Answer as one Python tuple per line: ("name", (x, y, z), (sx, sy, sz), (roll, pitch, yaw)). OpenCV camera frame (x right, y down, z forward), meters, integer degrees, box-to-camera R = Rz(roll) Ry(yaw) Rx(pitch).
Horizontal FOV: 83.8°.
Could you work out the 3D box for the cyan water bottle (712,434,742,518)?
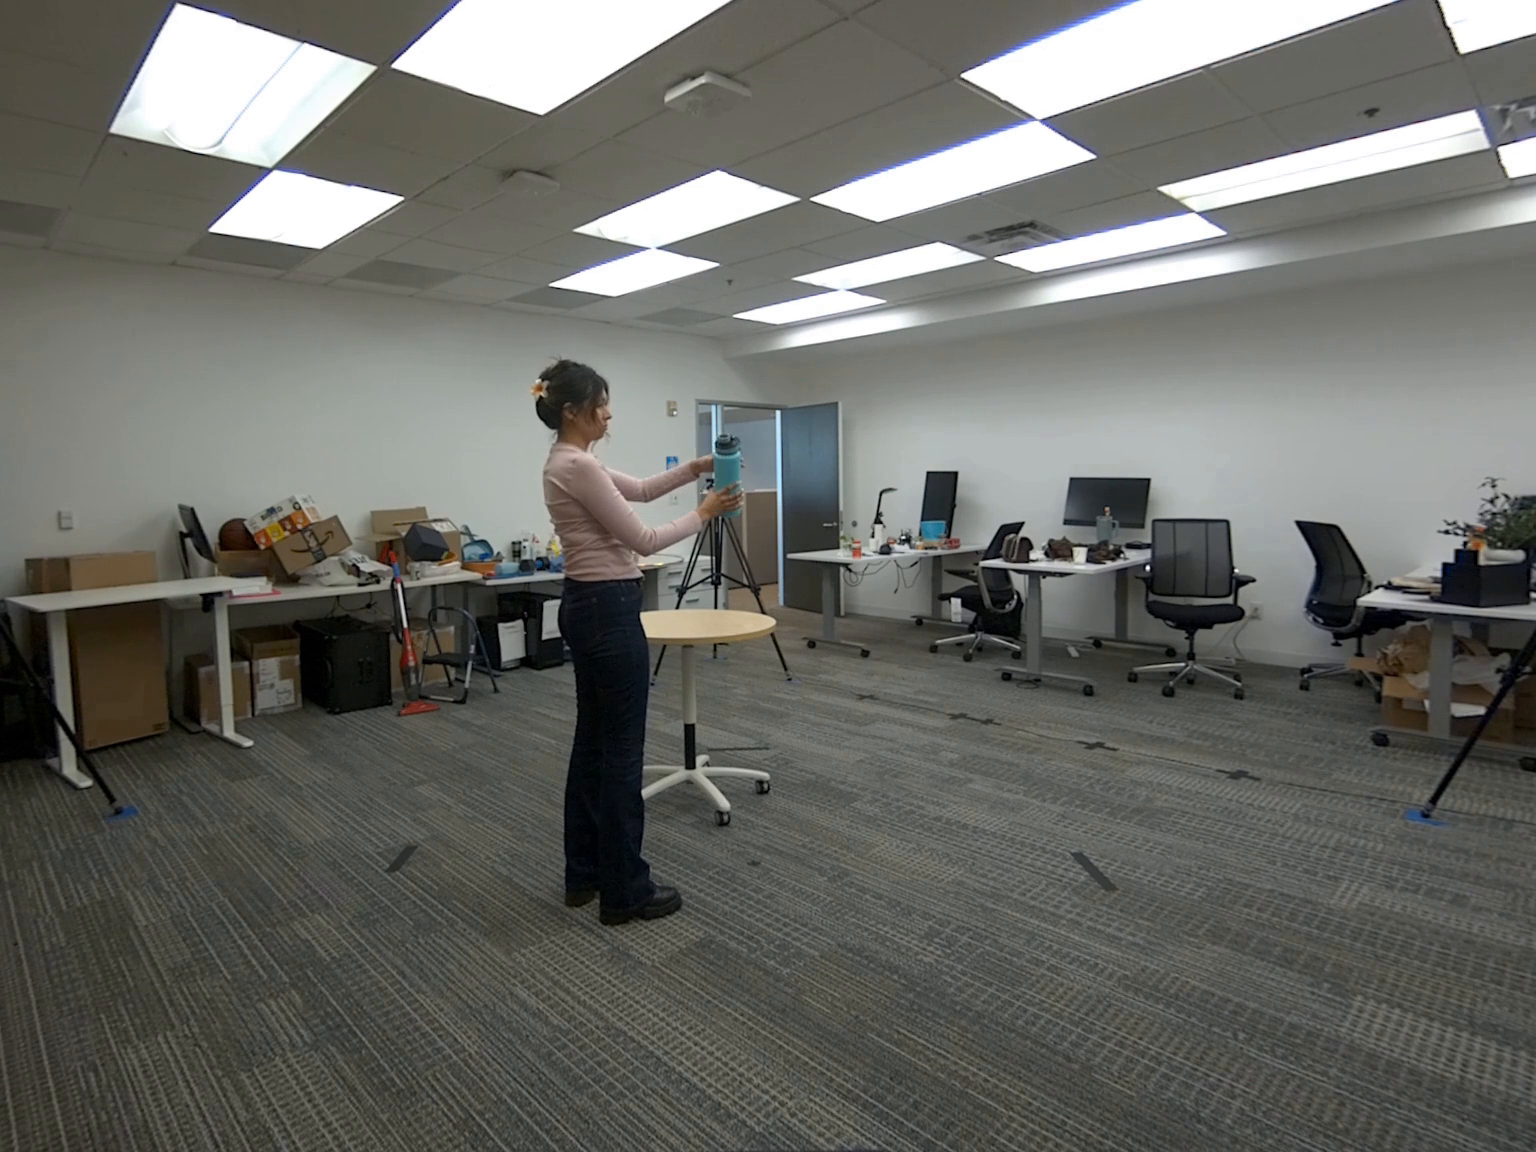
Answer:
("cyan water bottle", (-0.141, -0.335, 2.829), (0.092, 0.278, 0.094), (1, 24, -2))
